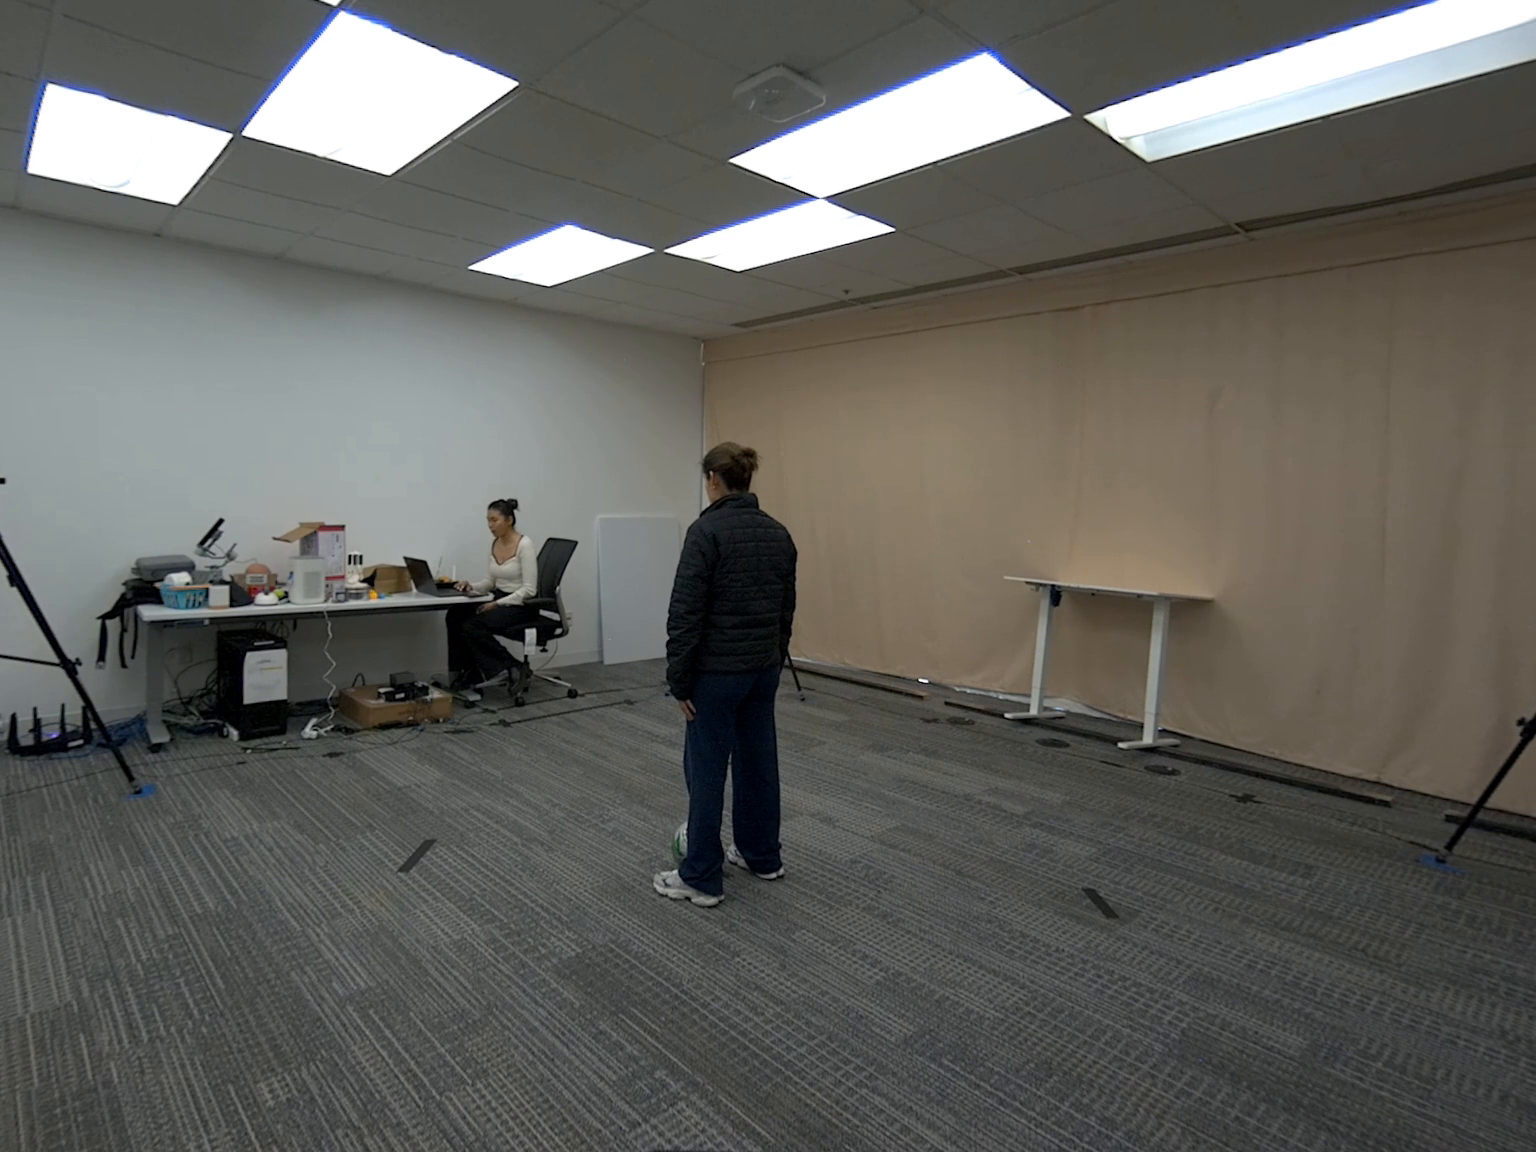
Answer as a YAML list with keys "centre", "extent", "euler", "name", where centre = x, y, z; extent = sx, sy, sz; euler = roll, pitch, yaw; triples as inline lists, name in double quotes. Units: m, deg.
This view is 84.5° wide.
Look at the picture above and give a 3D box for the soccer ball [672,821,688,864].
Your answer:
- centre: [-0.264, 1.003, 3.140]
  extent: [0.187, 0.187, 0.188]
  euler: [1, 4, -1]
  name: "soccer ball"
